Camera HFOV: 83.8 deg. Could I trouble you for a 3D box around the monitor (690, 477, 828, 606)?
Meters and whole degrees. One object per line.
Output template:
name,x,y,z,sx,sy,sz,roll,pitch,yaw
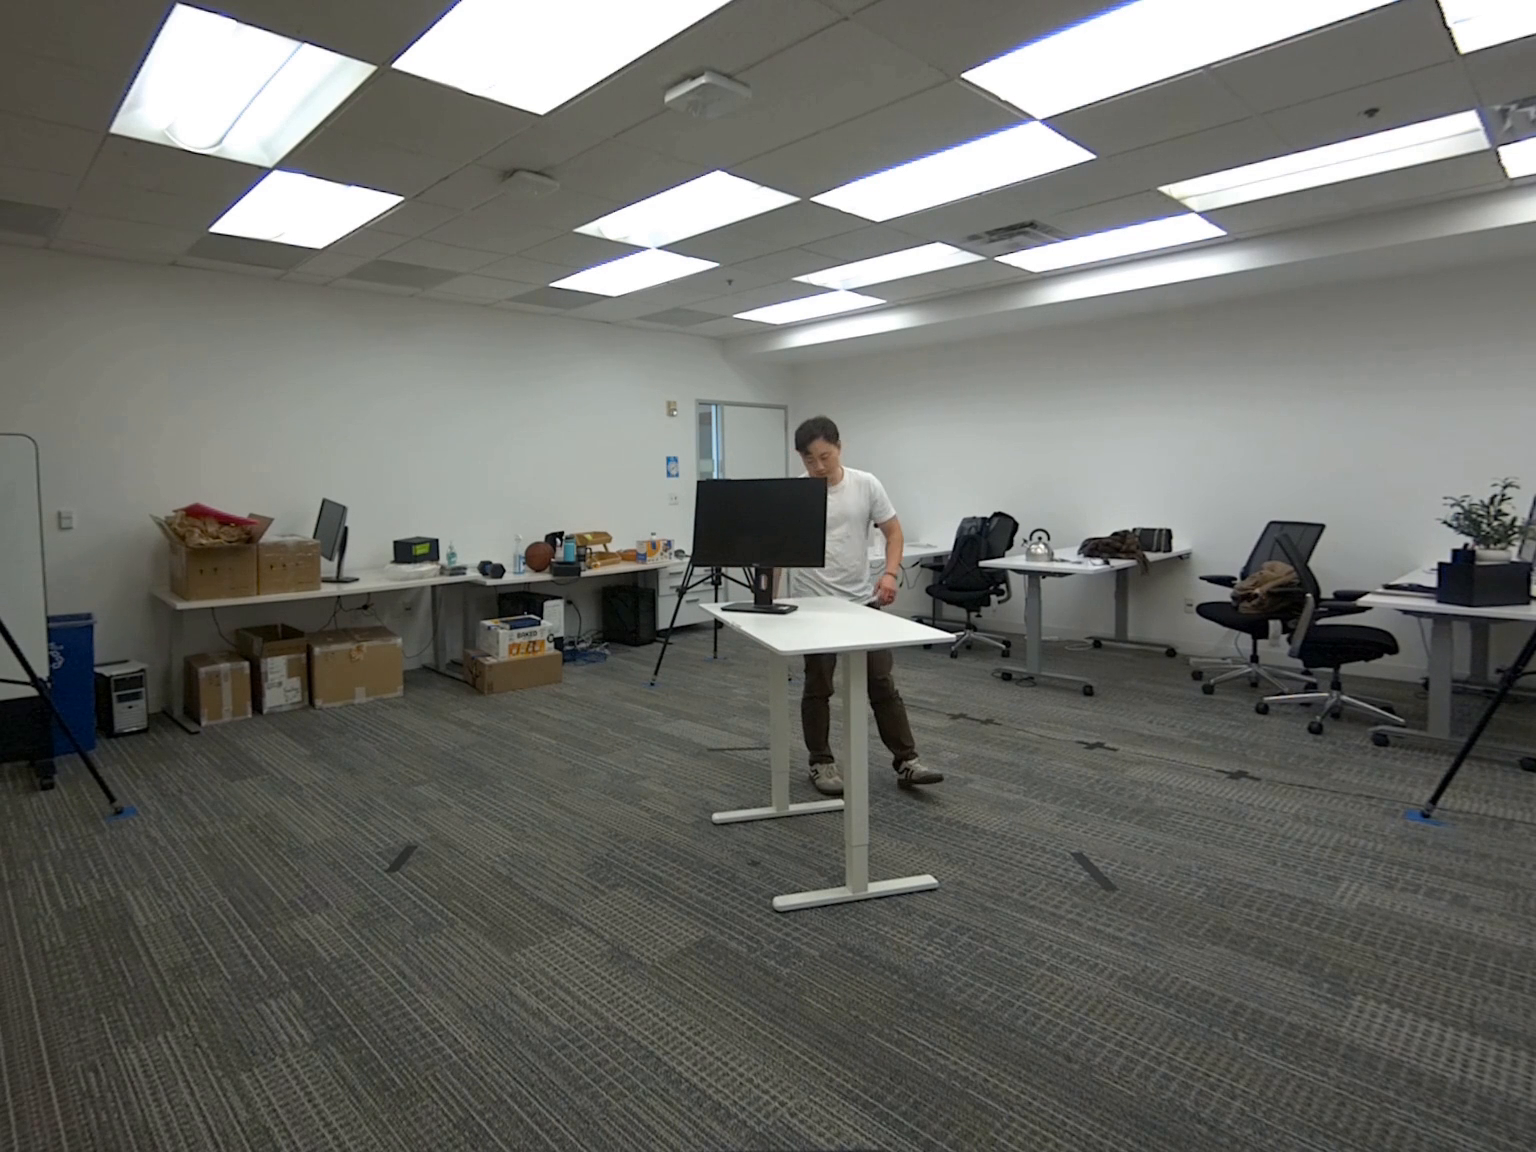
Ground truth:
monitor,-0.026,-0.119,3.354,0.548,0.521,0.184,1,3,17
